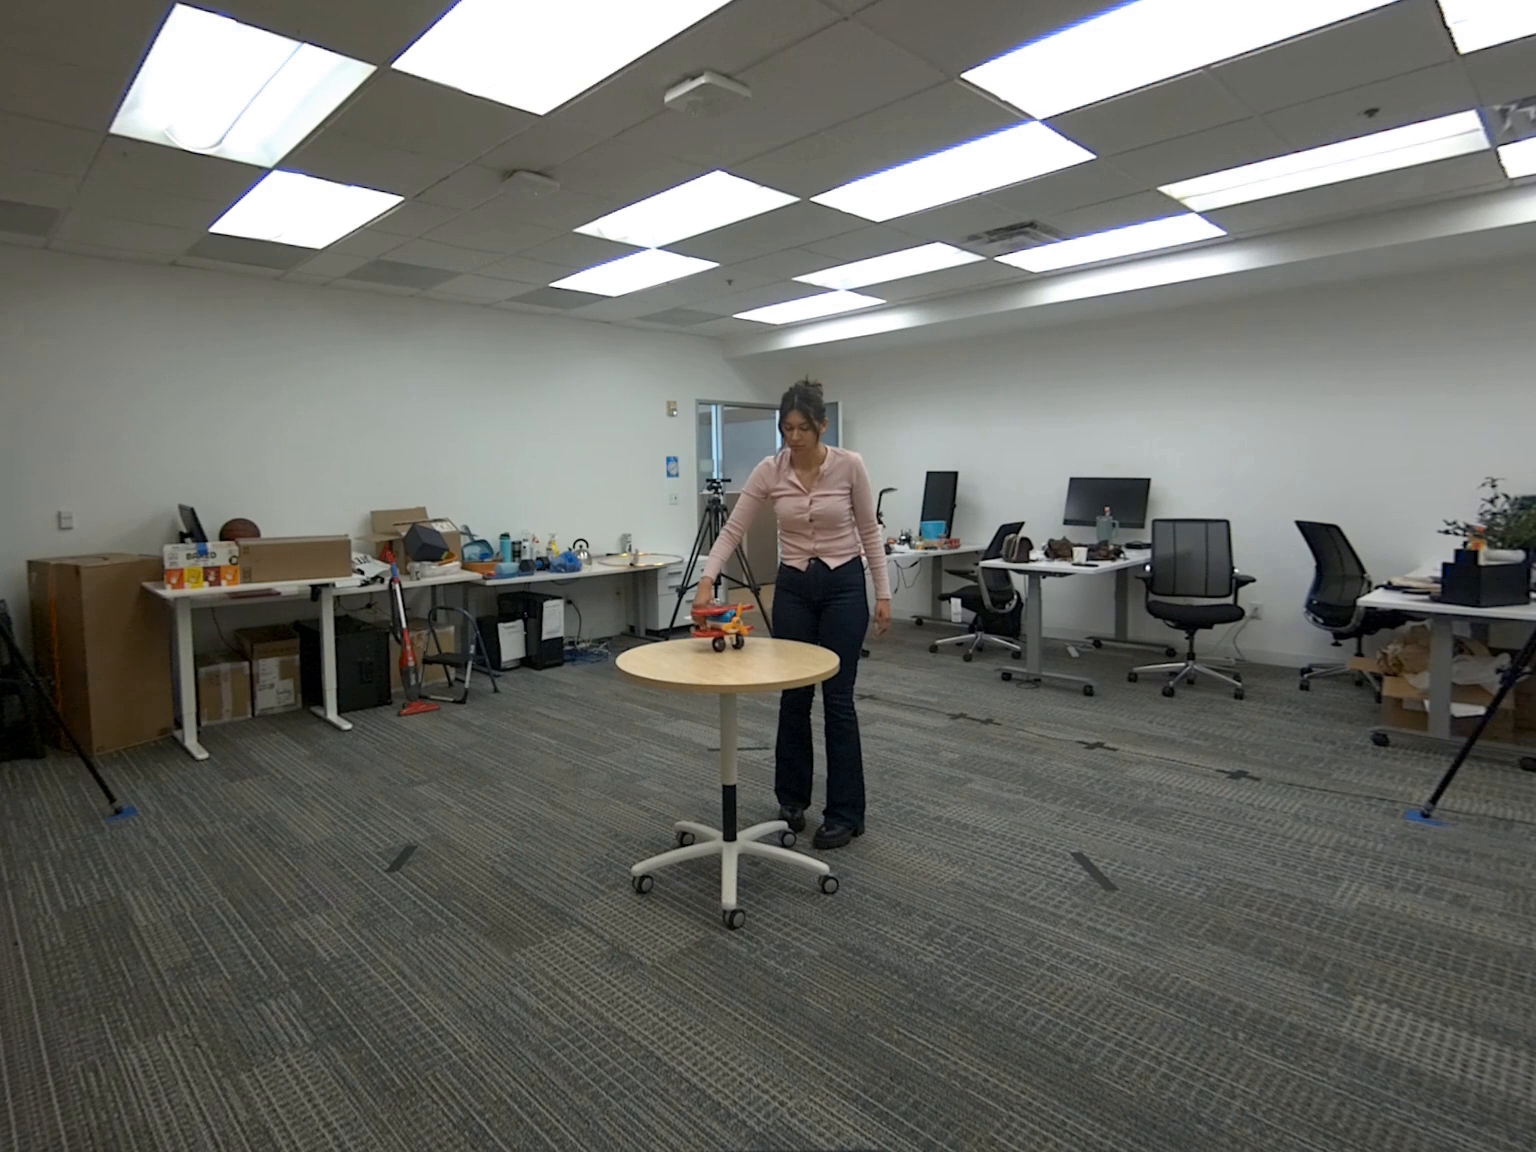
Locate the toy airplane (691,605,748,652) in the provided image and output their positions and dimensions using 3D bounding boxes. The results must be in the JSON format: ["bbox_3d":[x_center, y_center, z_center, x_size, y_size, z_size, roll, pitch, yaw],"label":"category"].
[{"bbox_3d":[-0.198,0.170,3.102,0.265,0.155,0.248,14,16,20],"label":"toy airplane"}]
